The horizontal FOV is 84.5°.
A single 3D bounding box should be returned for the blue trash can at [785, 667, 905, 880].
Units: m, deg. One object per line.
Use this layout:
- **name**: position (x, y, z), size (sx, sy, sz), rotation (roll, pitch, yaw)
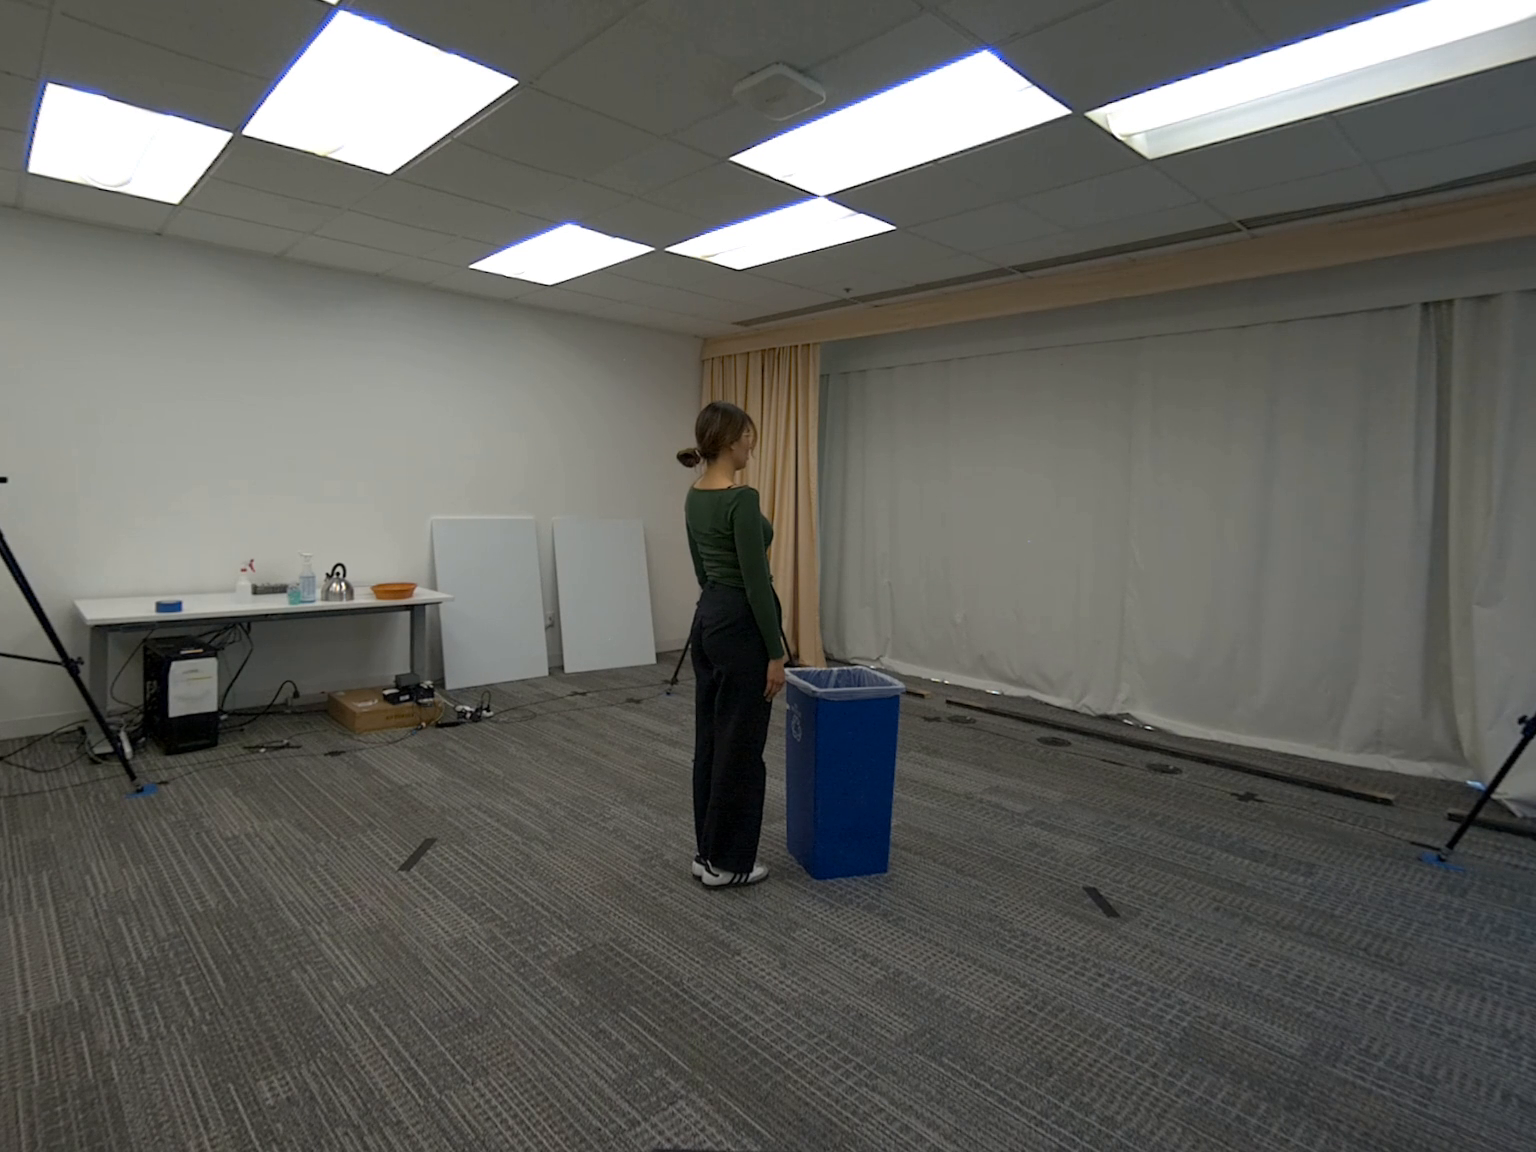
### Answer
- **blue trash can**: position (0.269, 0.740, 3.236), size (0.369, 0.711, 0.384), rotation (0, 4, -19)
